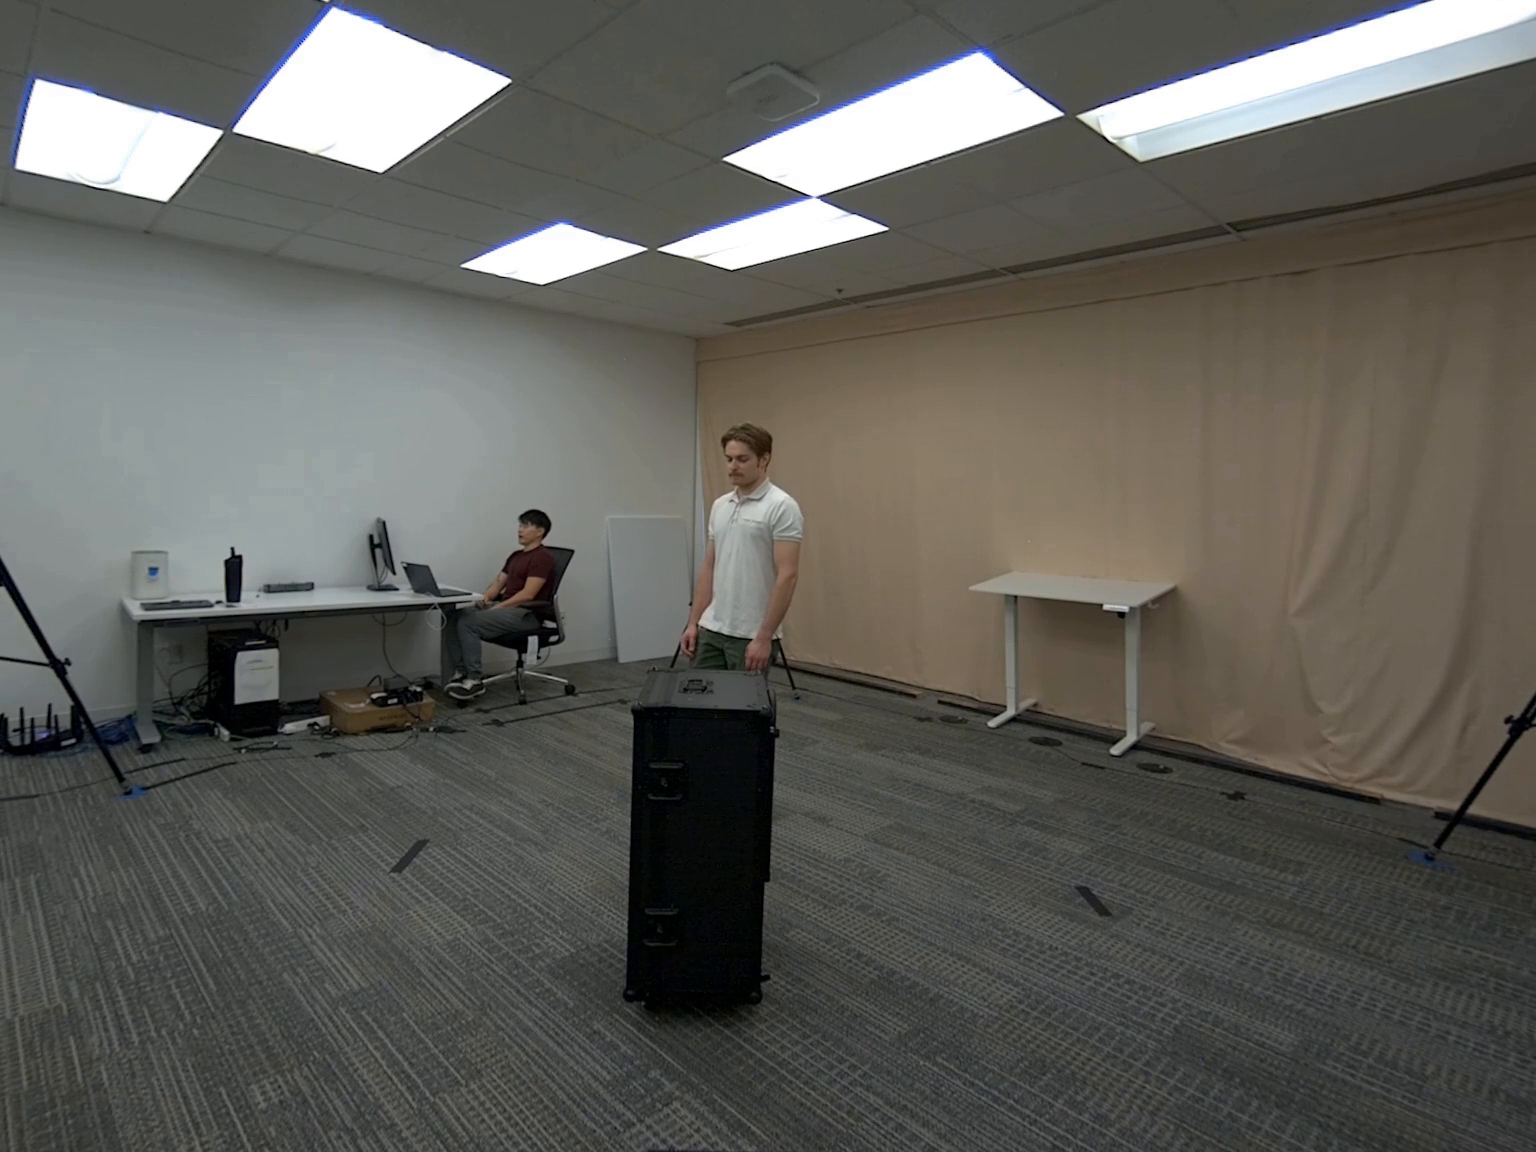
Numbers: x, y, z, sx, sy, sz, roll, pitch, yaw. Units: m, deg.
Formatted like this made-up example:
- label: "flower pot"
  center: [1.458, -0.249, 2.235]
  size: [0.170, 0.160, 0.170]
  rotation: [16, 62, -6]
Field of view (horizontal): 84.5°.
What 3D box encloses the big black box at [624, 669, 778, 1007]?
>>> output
- label: "big black box"
  center: [-0.201, 0.743, 2.417]
  size: [0.385, 0.866, 0.525]
  rotation: [2, 4, -2]
